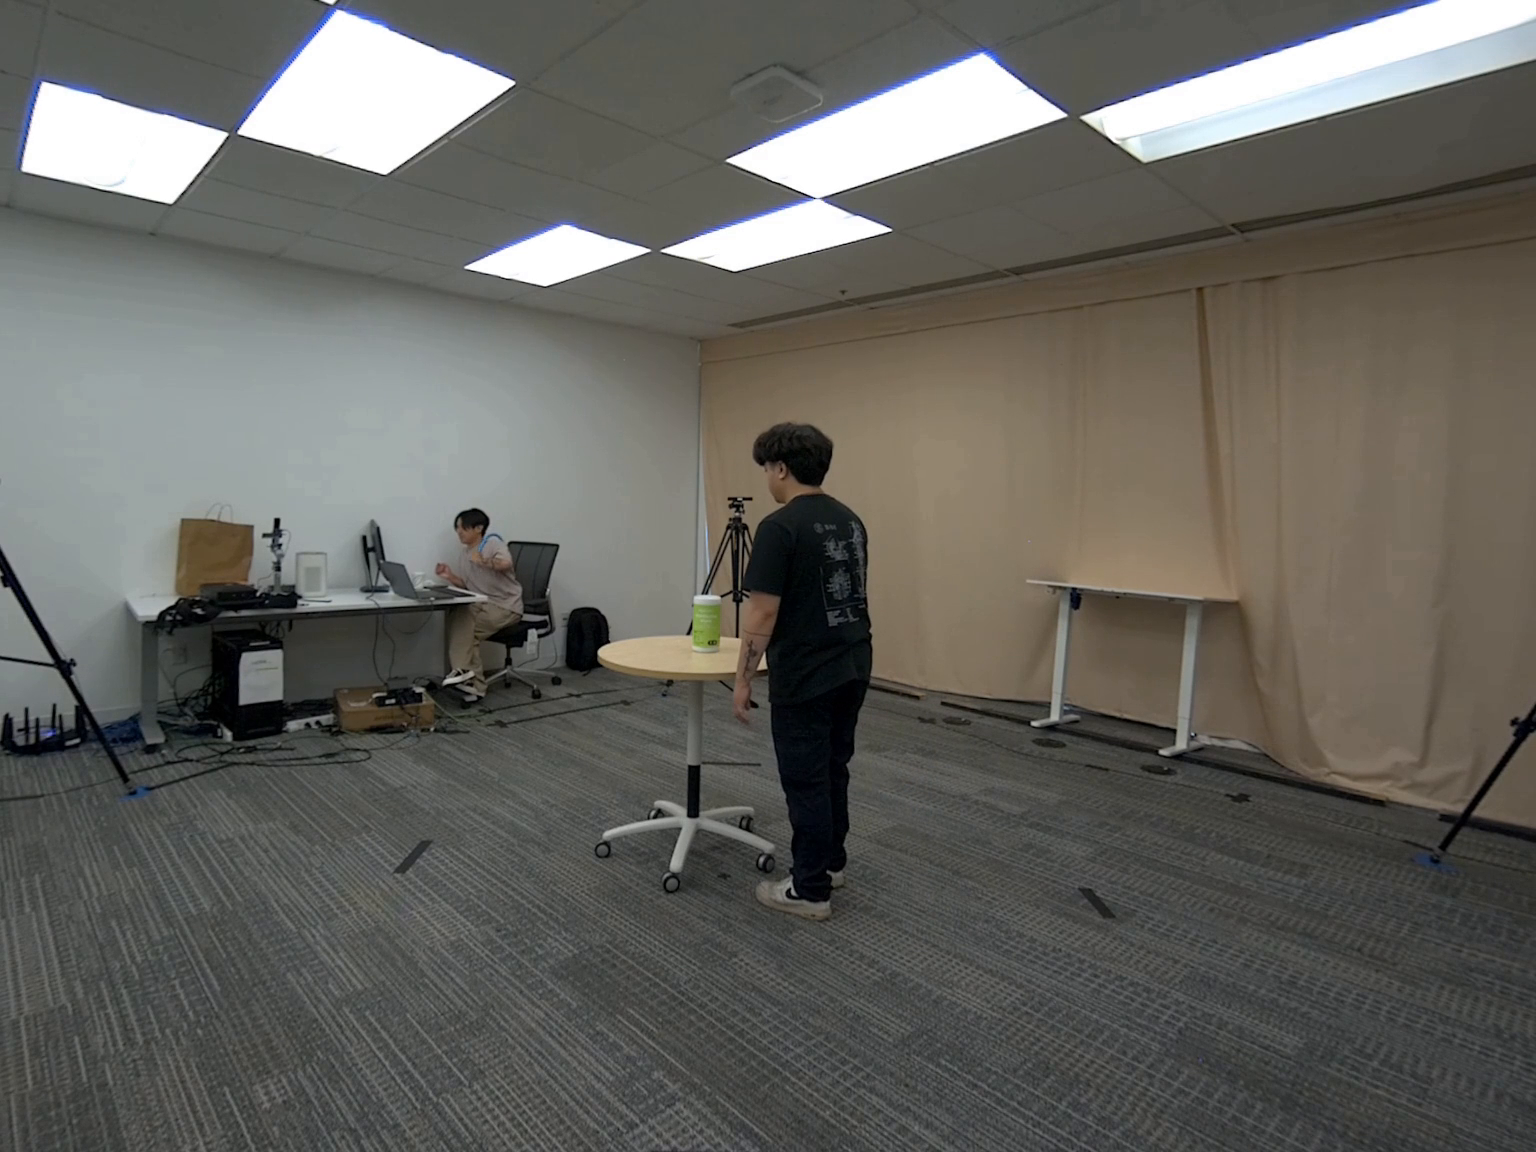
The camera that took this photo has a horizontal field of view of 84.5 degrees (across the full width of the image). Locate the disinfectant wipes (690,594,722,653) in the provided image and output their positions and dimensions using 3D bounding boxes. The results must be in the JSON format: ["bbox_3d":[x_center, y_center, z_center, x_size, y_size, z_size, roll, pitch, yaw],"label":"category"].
[{"bbox_3d":[-0.251,0.186,3.315,0.118,0.217,0.118,2,4,-2],"label":"disinfectant wipes"}]
